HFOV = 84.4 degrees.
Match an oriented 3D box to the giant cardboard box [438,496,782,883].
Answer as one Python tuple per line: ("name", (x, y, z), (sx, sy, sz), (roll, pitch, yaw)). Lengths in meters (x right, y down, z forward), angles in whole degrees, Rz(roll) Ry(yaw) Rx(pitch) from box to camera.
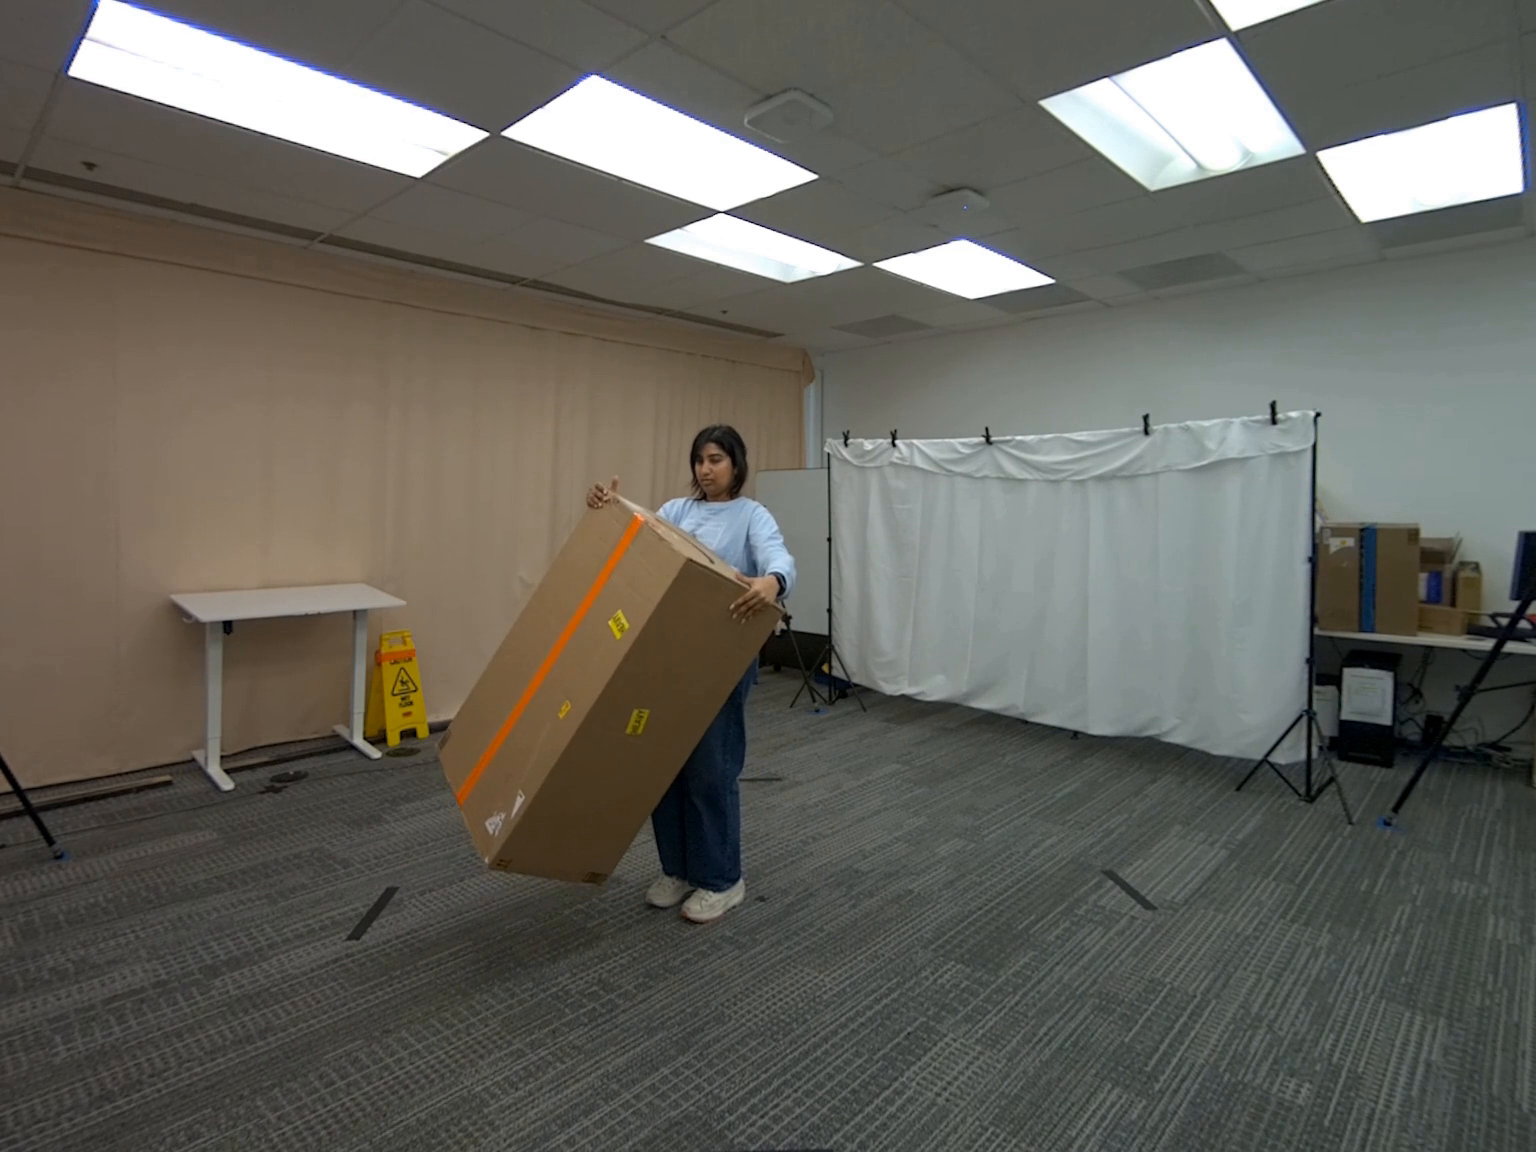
("giant cardboard box", (-0.516, 0.336, 2.598), (0.431, 1.027, 0.605), (29, 6, -41))
